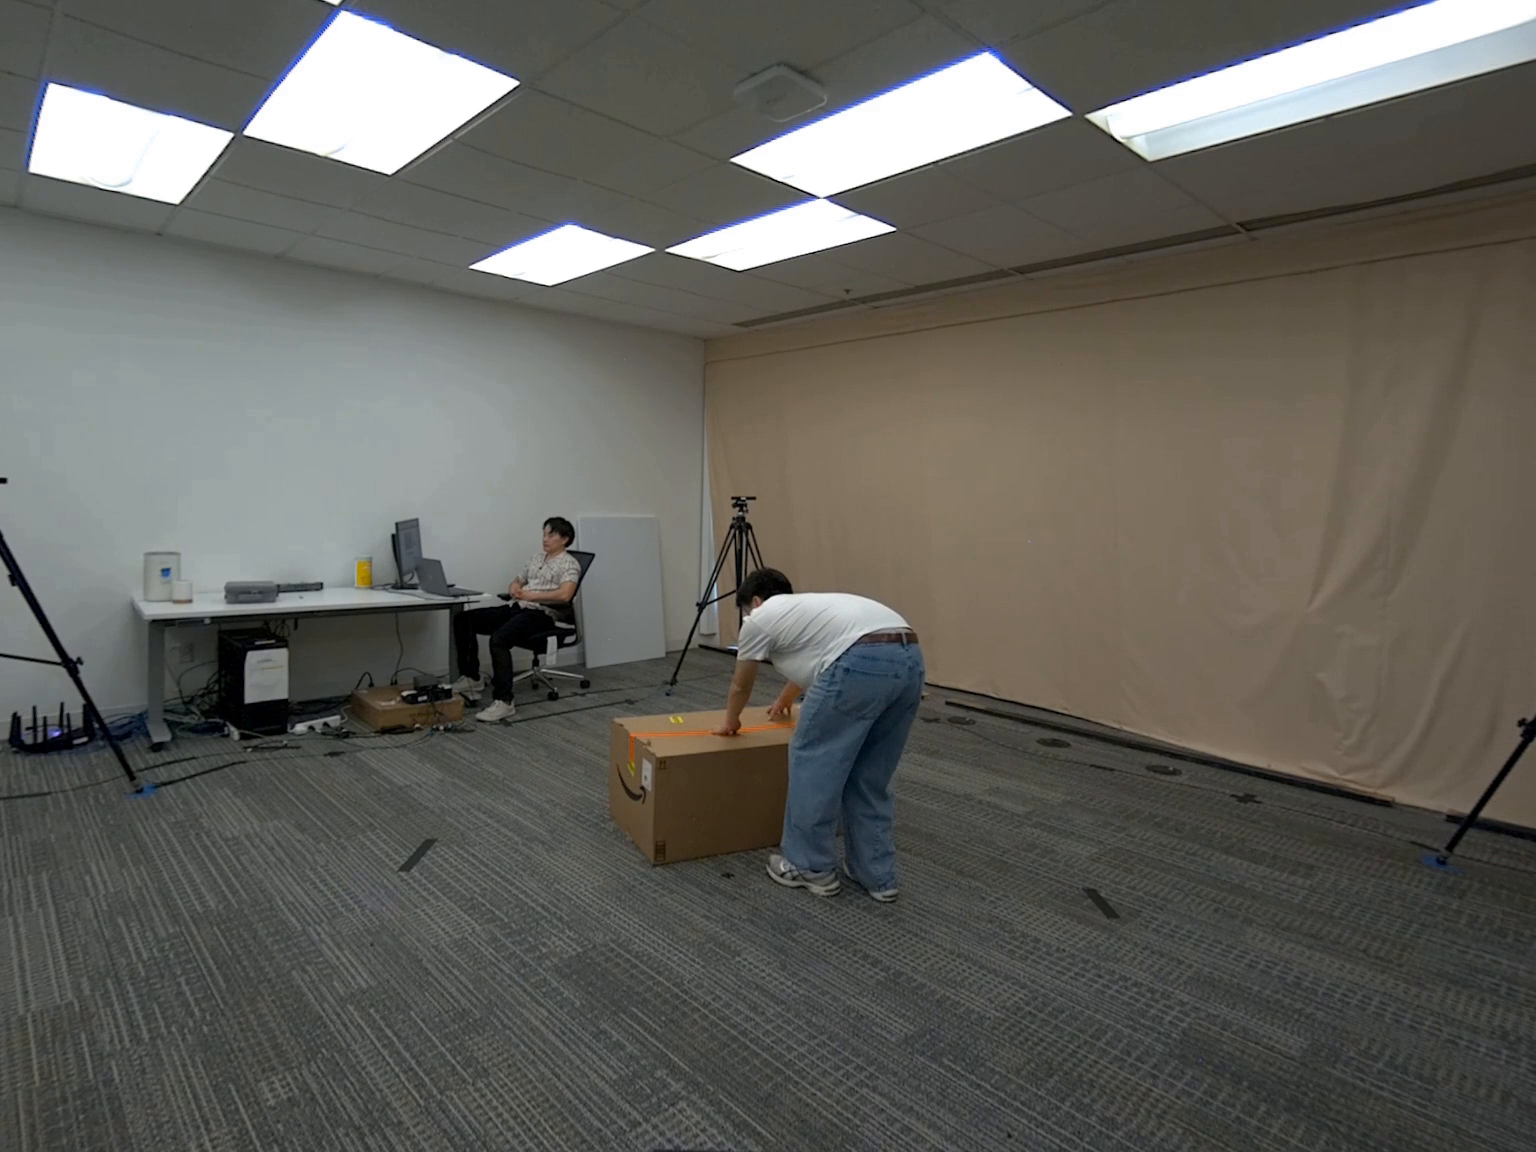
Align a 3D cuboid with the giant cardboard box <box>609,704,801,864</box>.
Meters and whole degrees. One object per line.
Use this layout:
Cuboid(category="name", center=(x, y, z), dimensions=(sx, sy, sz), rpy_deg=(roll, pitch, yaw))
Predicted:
Cuboid(category="giant cardboard box", center=(-0.111, 0.849, 3.620), dimensions=(1.007, 0.425, 0.589), rpy_deg=(-1, 4, -25))
